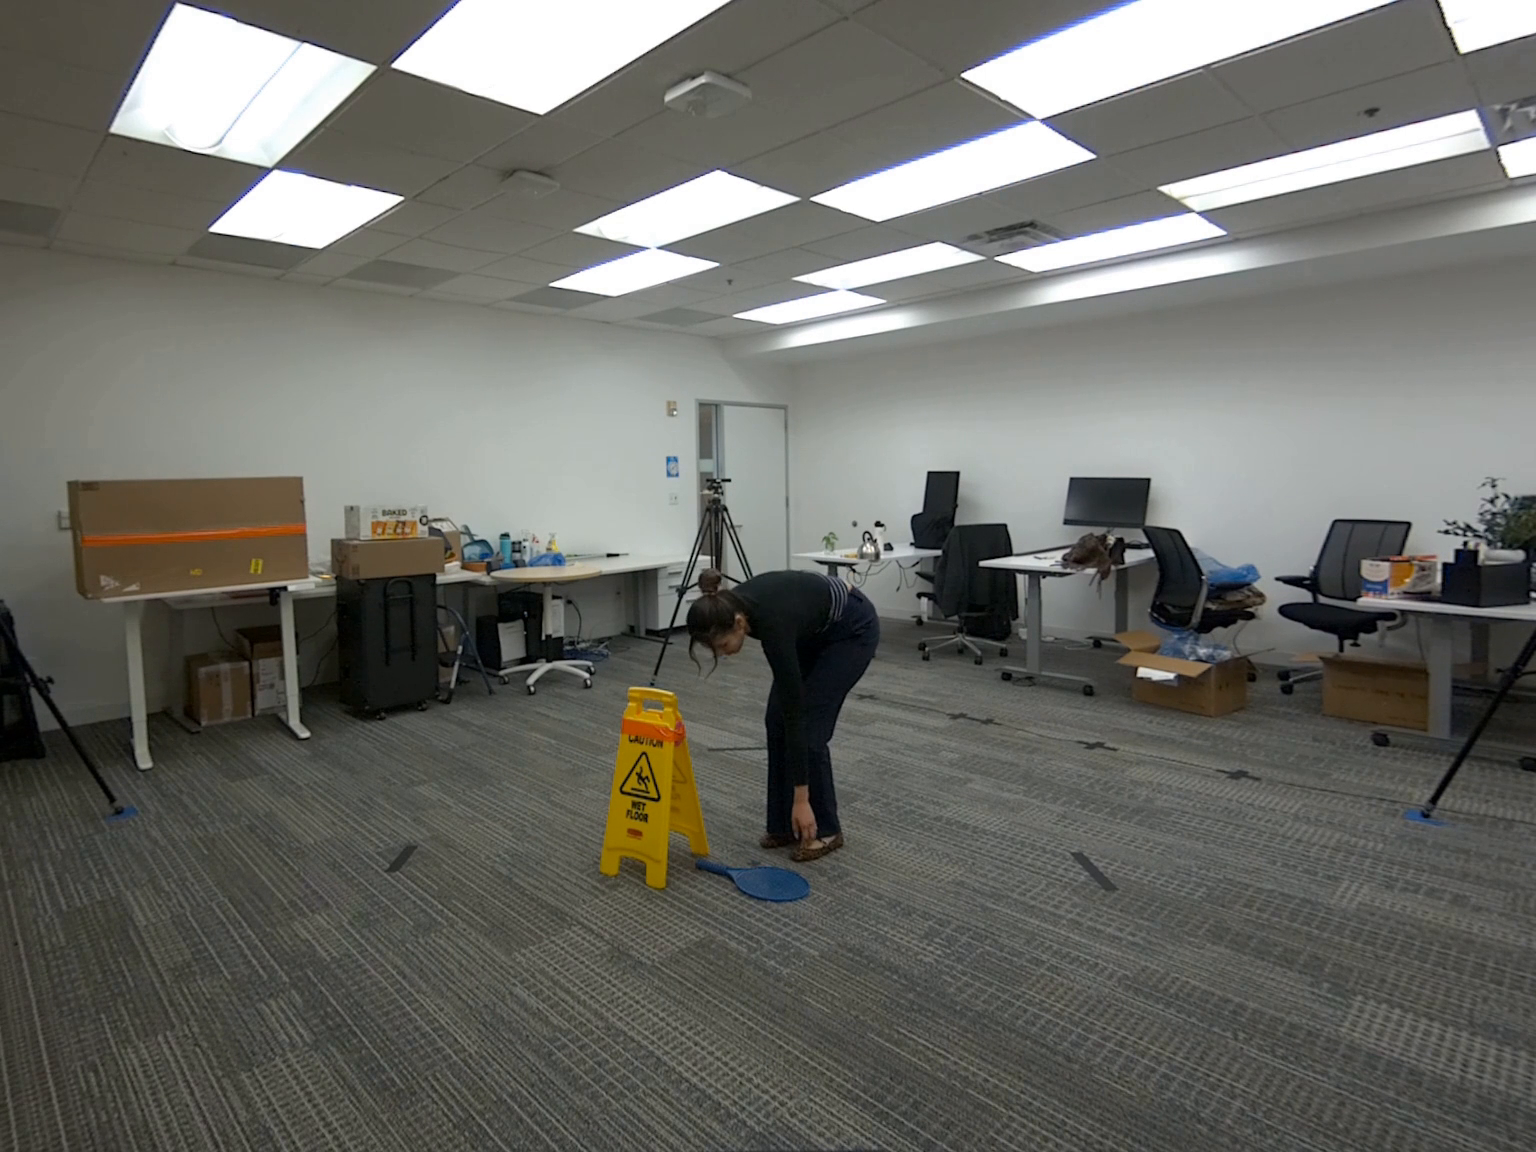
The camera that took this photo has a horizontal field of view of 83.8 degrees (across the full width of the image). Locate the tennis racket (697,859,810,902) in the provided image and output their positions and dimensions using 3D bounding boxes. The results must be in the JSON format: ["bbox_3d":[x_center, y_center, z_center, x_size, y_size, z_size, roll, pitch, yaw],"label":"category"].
[{"bbox_3d":[-0.057,1.045,2.962,0.445,0.031,0.209,5,9,30],"label":"tennis racket"}]
